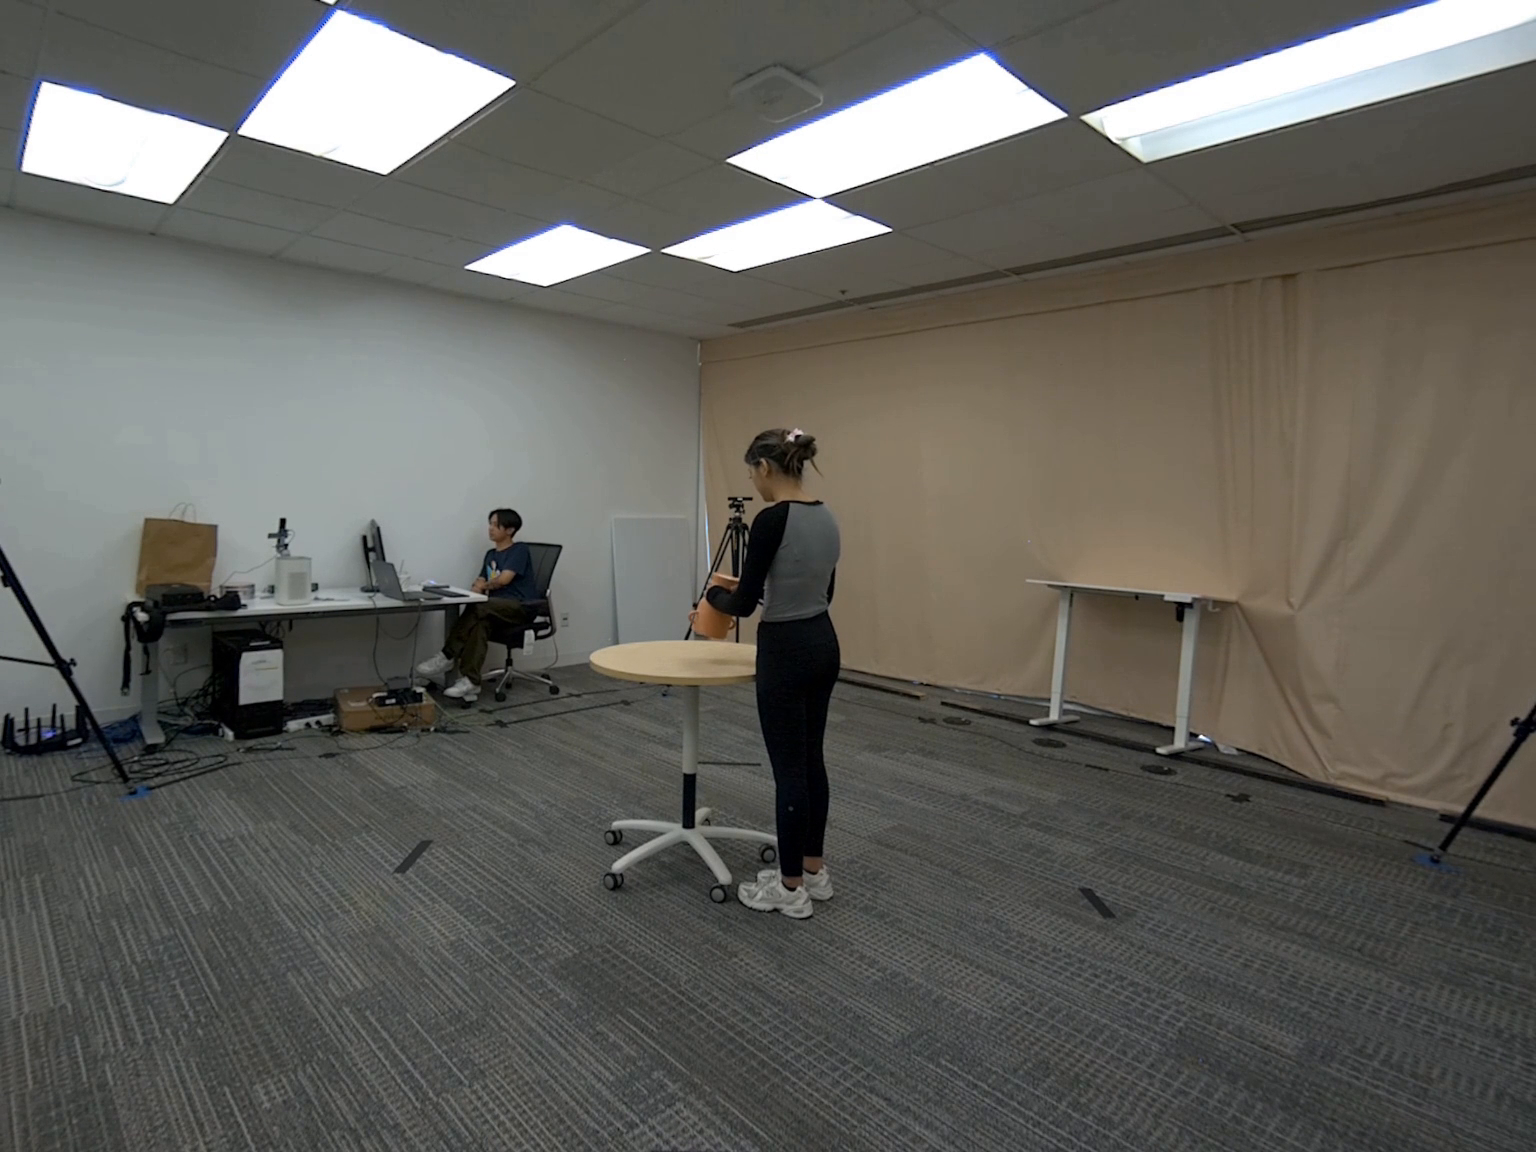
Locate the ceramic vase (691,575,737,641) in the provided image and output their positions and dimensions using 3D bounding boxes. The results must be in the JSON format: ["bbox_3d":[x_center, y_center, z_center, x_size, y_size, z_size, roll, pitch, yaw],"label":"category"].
[{"bbox_3d":[-0.186,0.105,3.078,0.137,0.219,0.156,18,6,22],"label":"ceramic vase"}]
